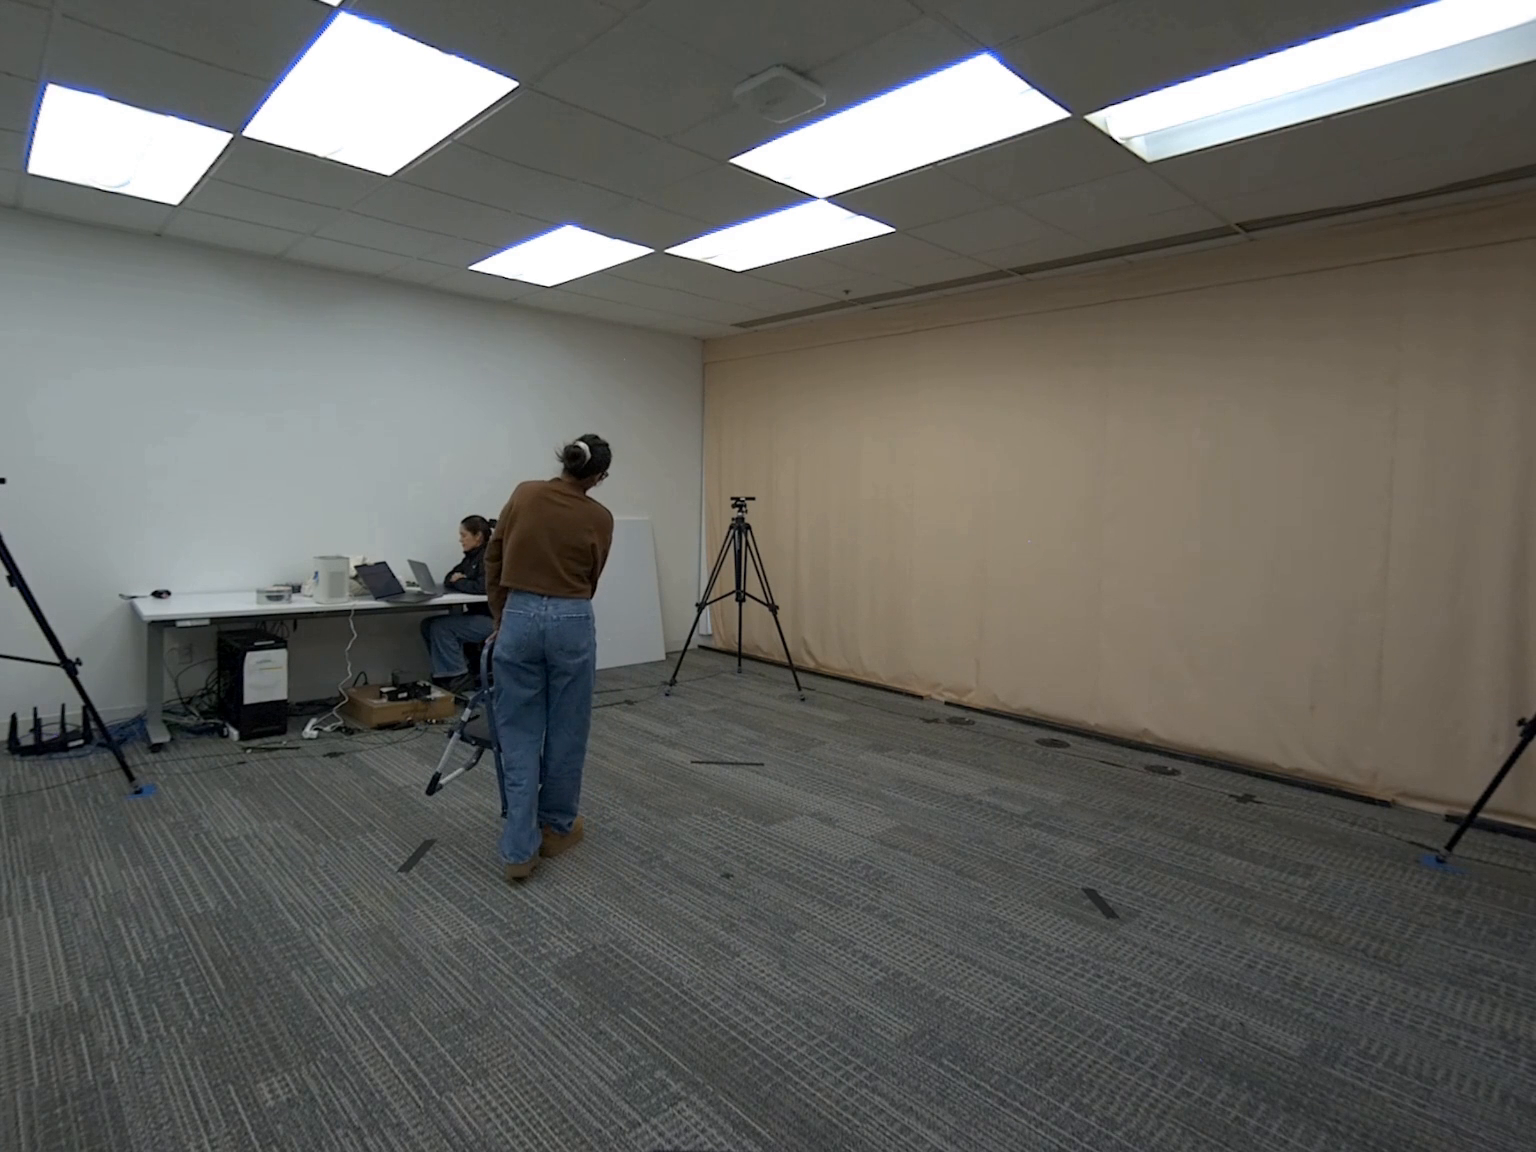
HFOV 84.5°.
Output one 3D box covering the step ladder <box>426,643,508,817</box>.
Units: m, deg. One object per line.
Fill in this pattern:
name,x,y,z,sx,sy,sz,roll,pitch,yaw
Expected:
step ladder,-1.052,0.557,3.329,0.351,0.605,0.429,13,4,4
